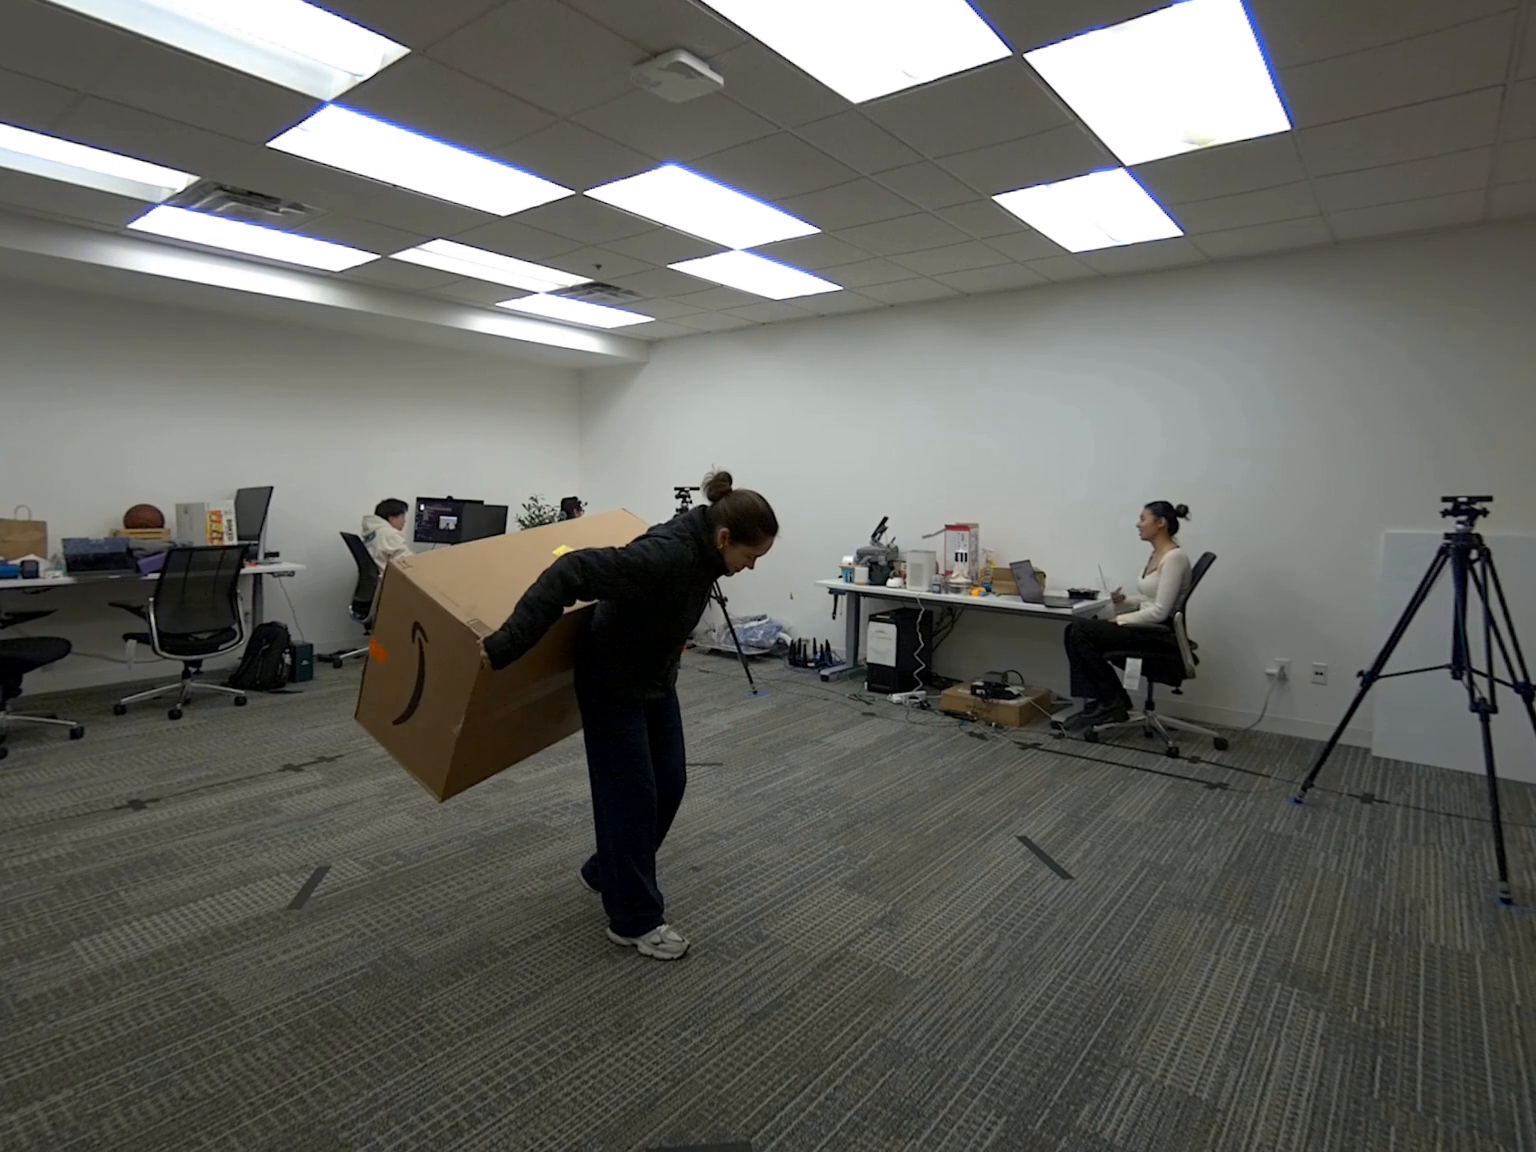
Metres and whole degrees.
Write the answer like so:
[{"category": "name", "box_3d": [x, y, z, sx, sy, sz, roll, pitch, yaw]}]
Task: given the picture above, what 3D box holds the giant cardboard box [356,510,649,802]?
[{"category": "giant cardboard box", "box_3d": [-0.734, 0.199, 2.824, 0.440, 0.571, 1.005, 32, 27, 23]}]
